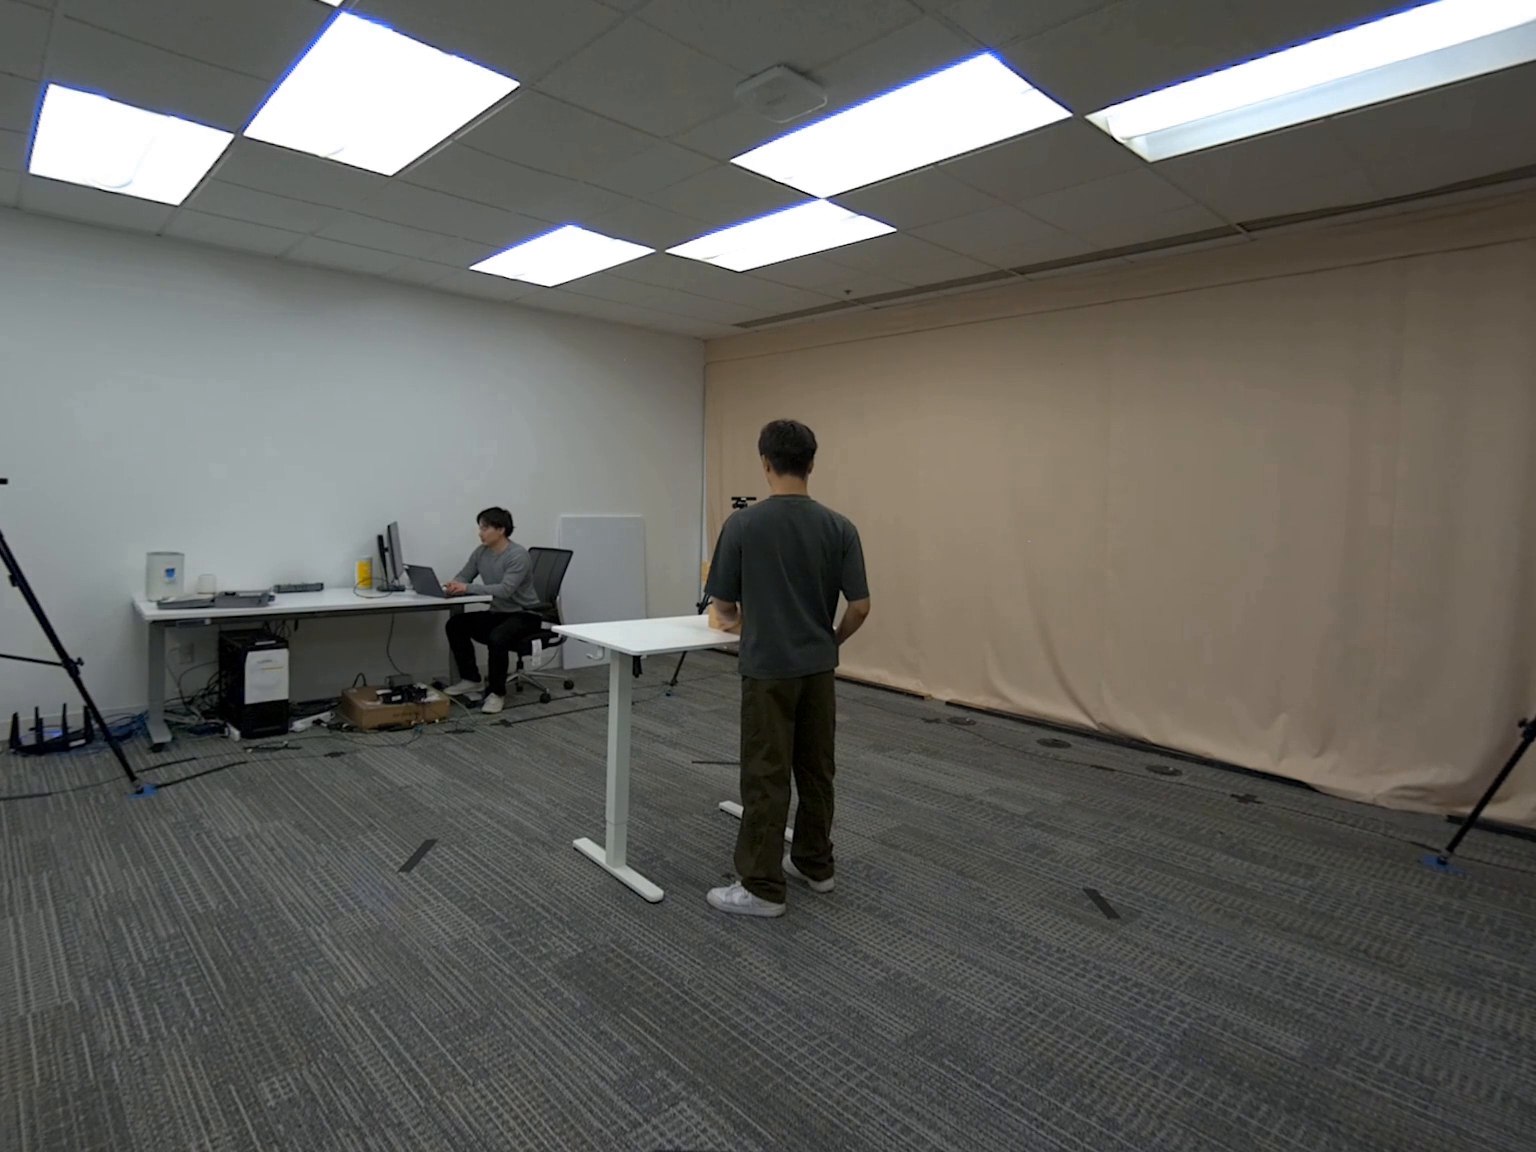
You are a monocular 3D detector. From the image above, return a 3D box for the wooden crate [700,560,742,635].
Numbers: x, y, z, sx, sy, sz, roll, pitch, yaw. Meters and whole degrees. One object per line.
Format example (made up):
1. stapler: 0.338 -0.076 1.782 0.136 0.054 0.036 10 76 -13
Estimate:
1. wooden crate: -0.058 0.076 3.337 0.317 0.273 0.310 -1 5 -40
